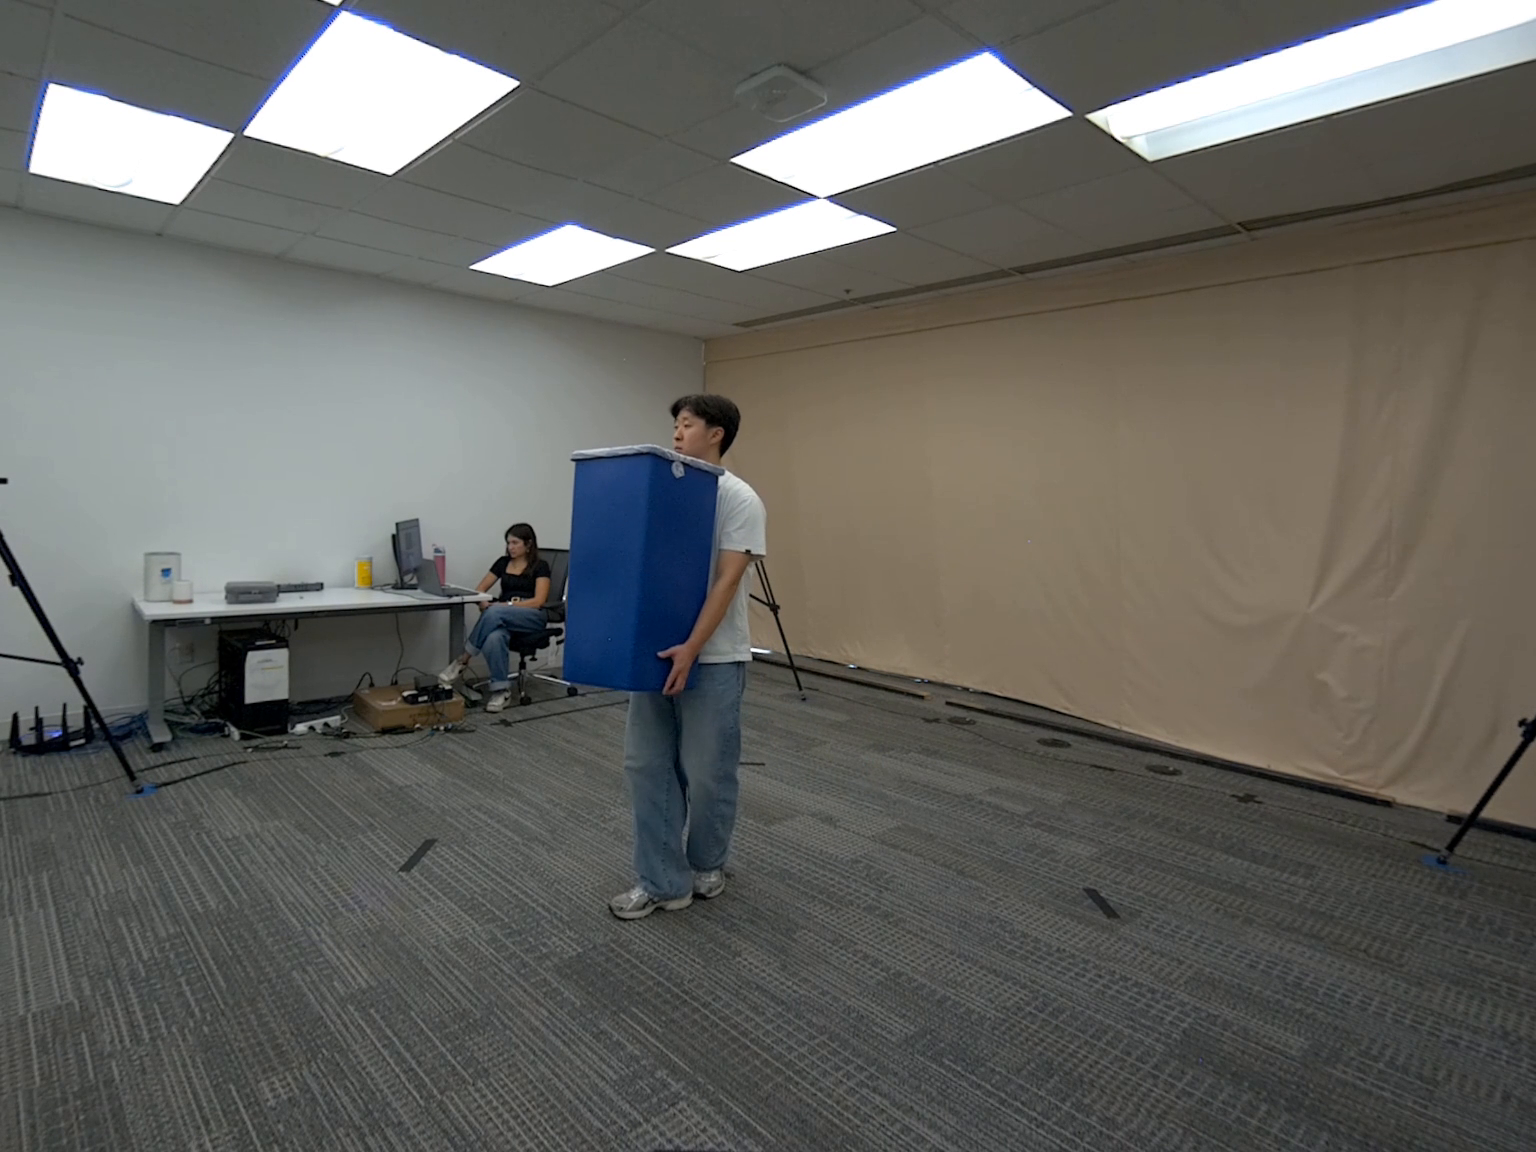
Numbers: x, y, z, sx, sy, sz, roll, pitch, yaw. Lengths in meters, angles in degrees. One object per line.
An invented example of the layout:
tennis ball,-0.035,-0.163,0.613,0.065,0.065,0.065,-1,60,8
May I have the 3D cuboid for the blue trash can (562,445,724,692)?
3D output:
blue trash can,-0.430,-0.017,2.643,0.382,0.716,0.368,2,-7,33
